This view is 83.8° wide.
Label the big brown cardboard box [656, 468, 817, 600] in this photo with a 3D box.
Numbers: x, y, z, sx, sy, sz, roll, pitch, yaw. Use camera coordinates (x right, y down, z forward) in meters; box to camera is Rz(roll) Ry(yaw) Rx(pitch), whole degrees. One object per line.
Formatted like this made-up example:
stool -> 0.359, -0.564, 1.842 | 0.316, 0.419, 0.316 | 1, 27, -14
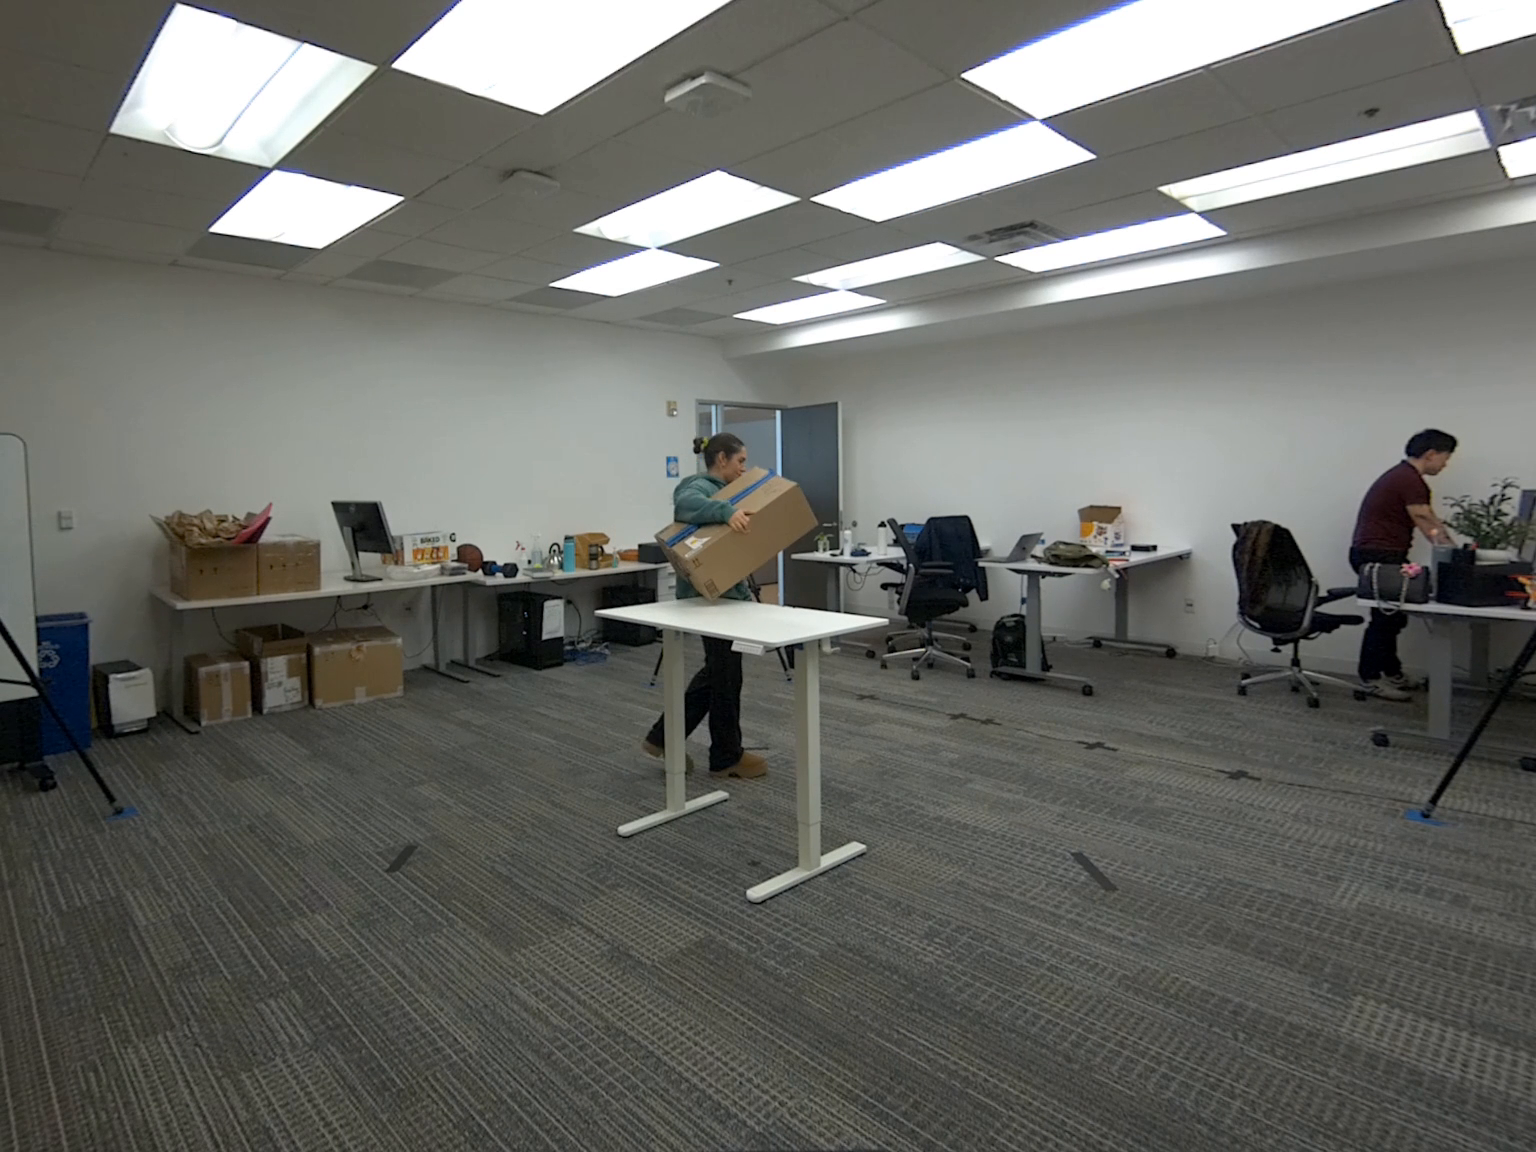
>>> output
big brown cardboard box -> -0.154, -0.192, 3.667 | 0.587, 0.226, 0.431 | -35, 27, -13
